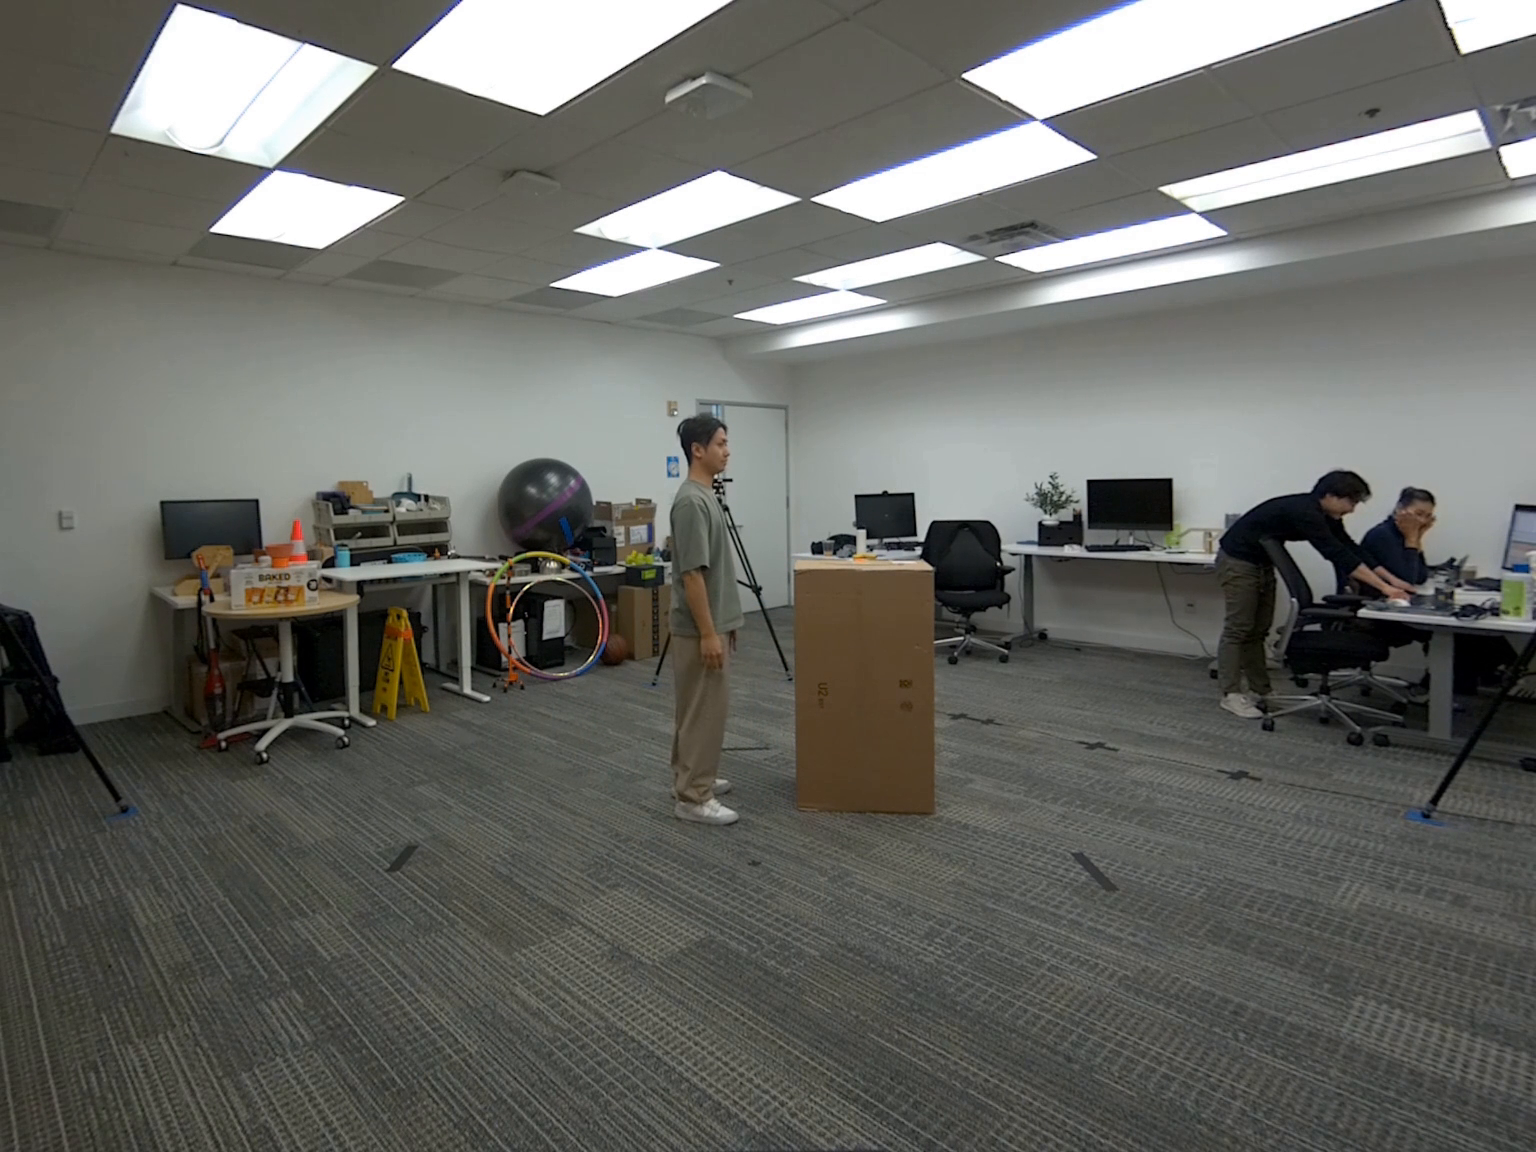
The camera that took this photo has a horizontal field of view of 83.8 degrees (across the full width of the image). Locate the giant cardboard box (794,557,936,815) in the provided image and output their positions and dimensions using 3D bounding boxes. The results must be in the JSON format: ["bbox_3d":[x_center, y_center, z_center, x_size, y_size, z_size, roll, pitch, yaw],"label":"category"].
[{"bbox_3d":[0.411,0.452,3.739,0.581,1.022,0.425,-1,4,6],"label":"giant cardboard box"}]
